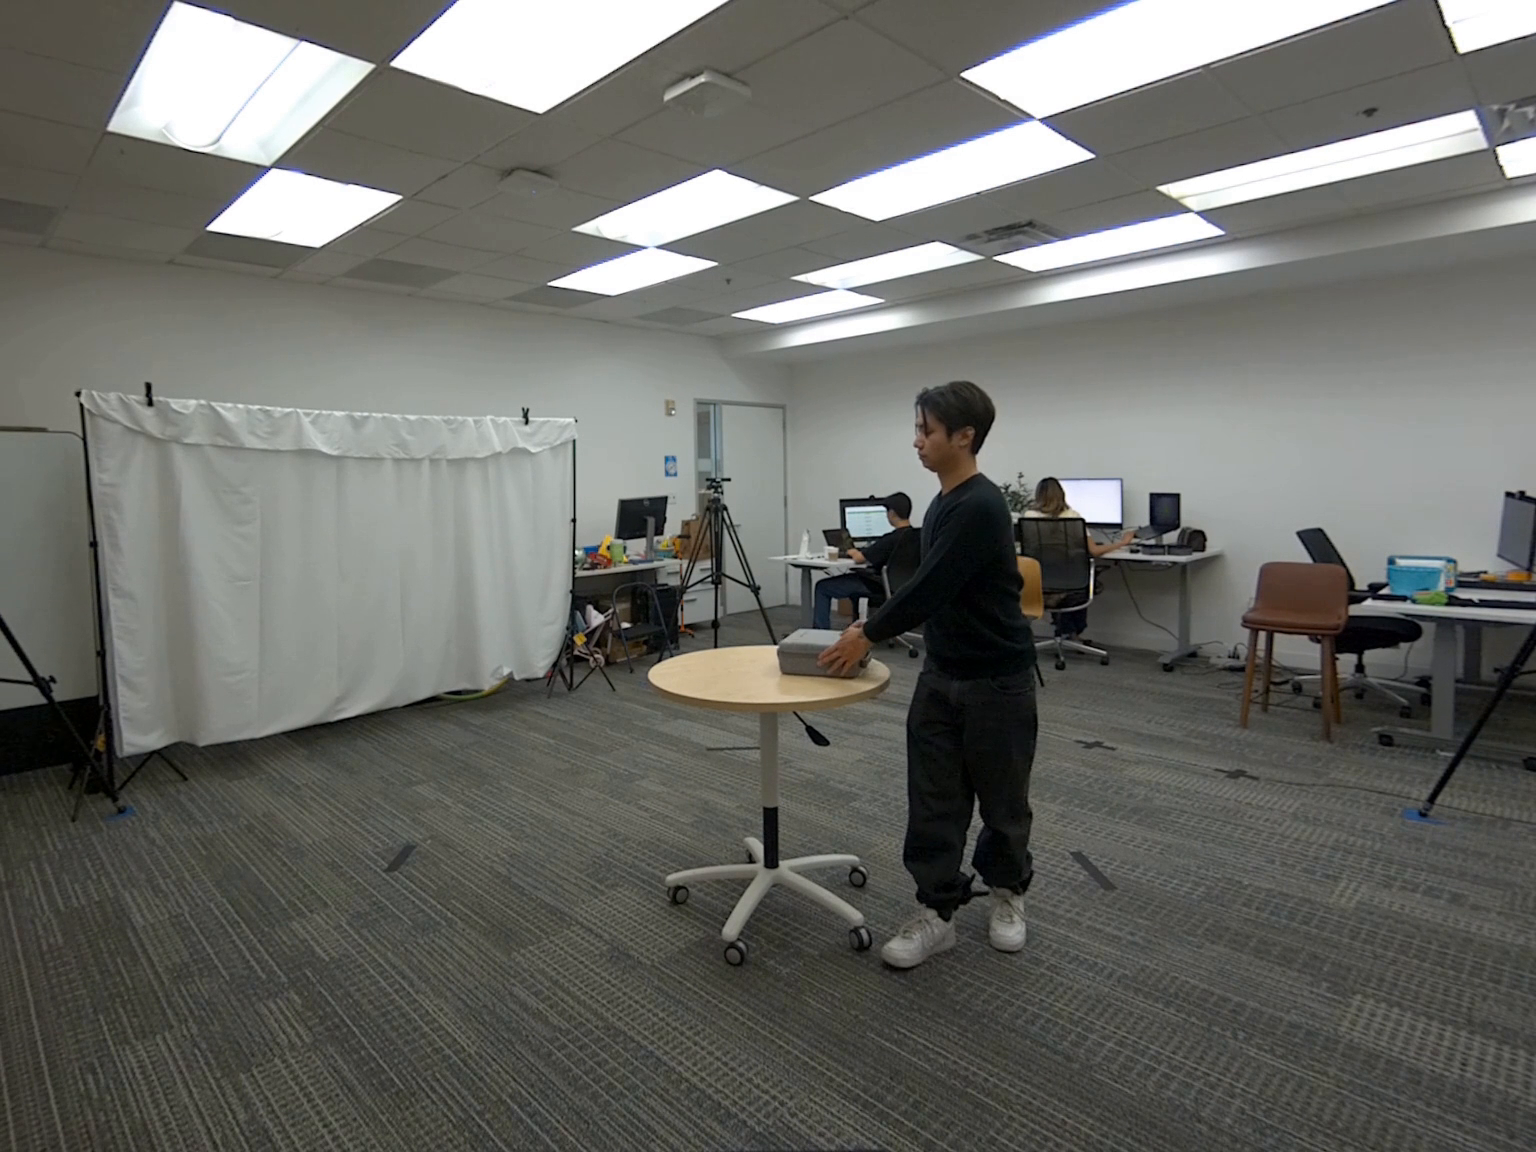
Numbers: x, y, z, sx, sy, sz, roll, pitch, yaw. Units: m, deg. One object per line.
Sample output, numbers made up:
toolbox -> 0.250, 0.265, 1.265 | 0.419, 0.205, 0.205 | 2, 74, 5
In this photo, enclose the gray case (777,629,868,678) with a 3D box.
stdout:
gray case -> 0.189, 0.244, 2.731 | 0.265, 0.104, 0.253 | 1, 6, 17
